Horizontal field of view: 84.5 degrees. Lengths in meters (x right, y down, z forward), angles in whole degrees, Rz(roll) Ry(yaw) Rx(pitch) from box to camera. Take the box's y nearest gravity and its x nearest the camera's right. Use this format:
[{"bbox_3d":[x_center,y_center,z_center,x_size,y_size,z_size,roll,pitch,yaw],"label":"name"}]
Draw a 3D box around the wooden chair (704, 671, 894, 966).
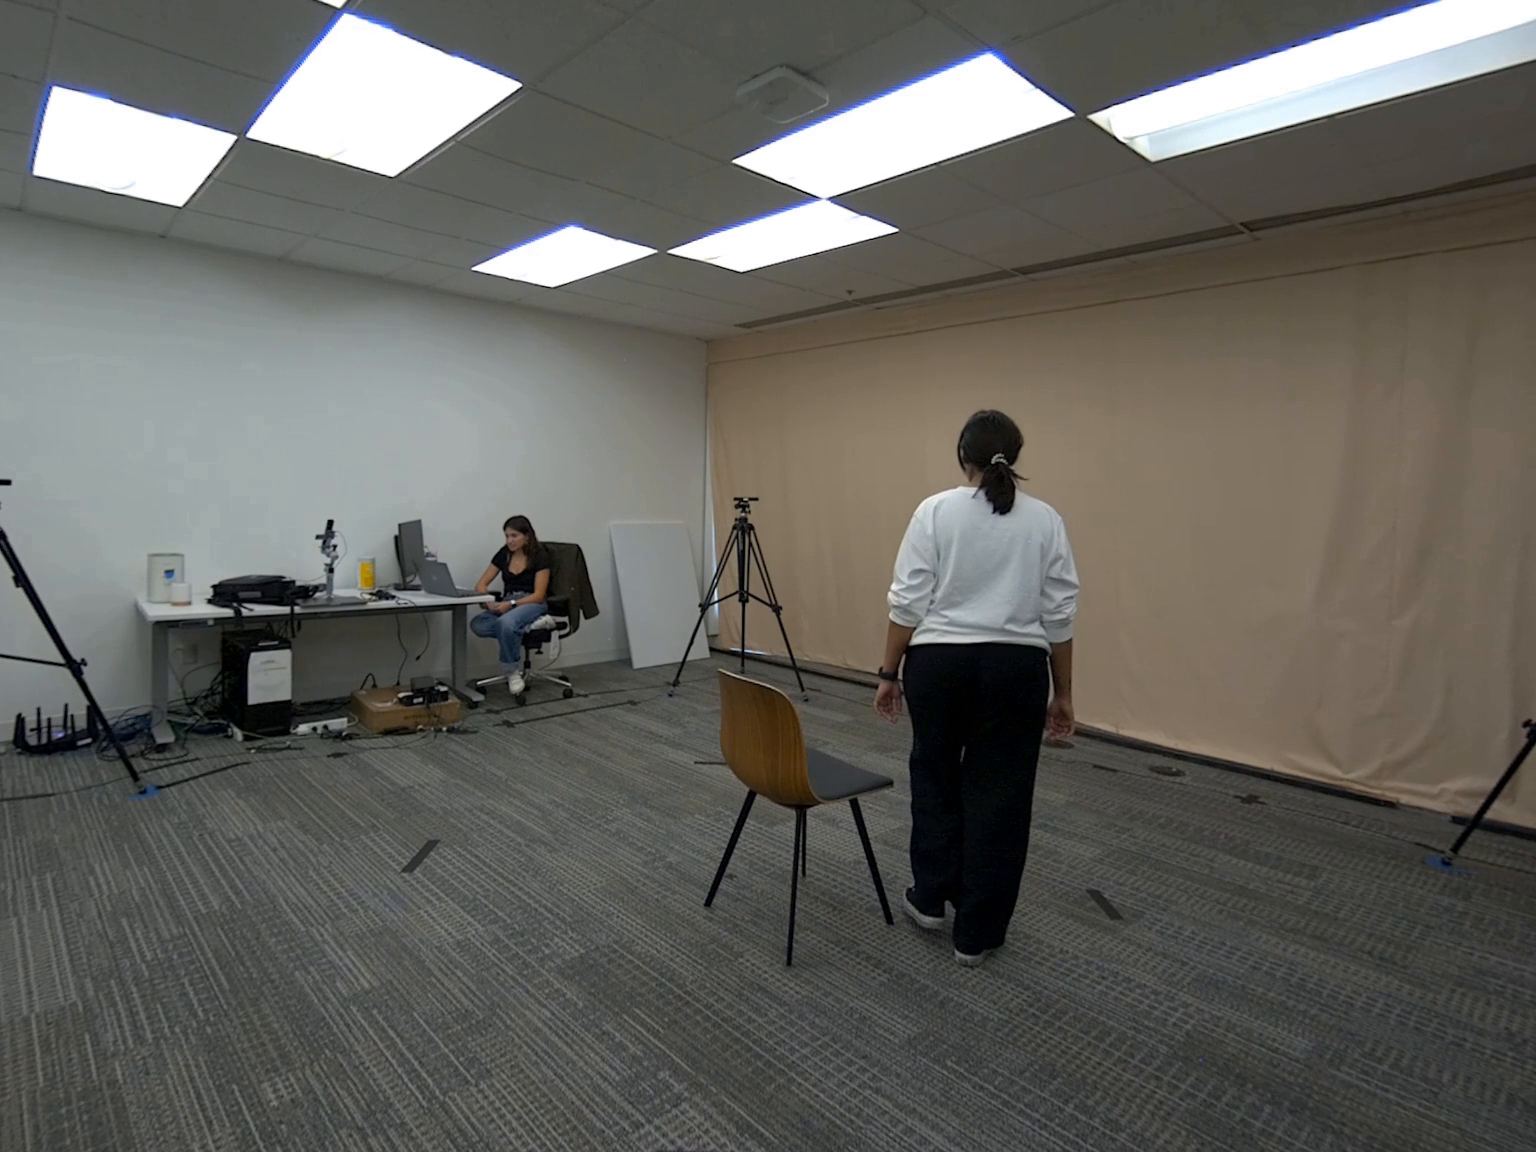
[{"bbox_3d":[0.109,0.710,2.805,0.512,0.873,0.490,-6,7,-37],"label":"wooden chair"}]
